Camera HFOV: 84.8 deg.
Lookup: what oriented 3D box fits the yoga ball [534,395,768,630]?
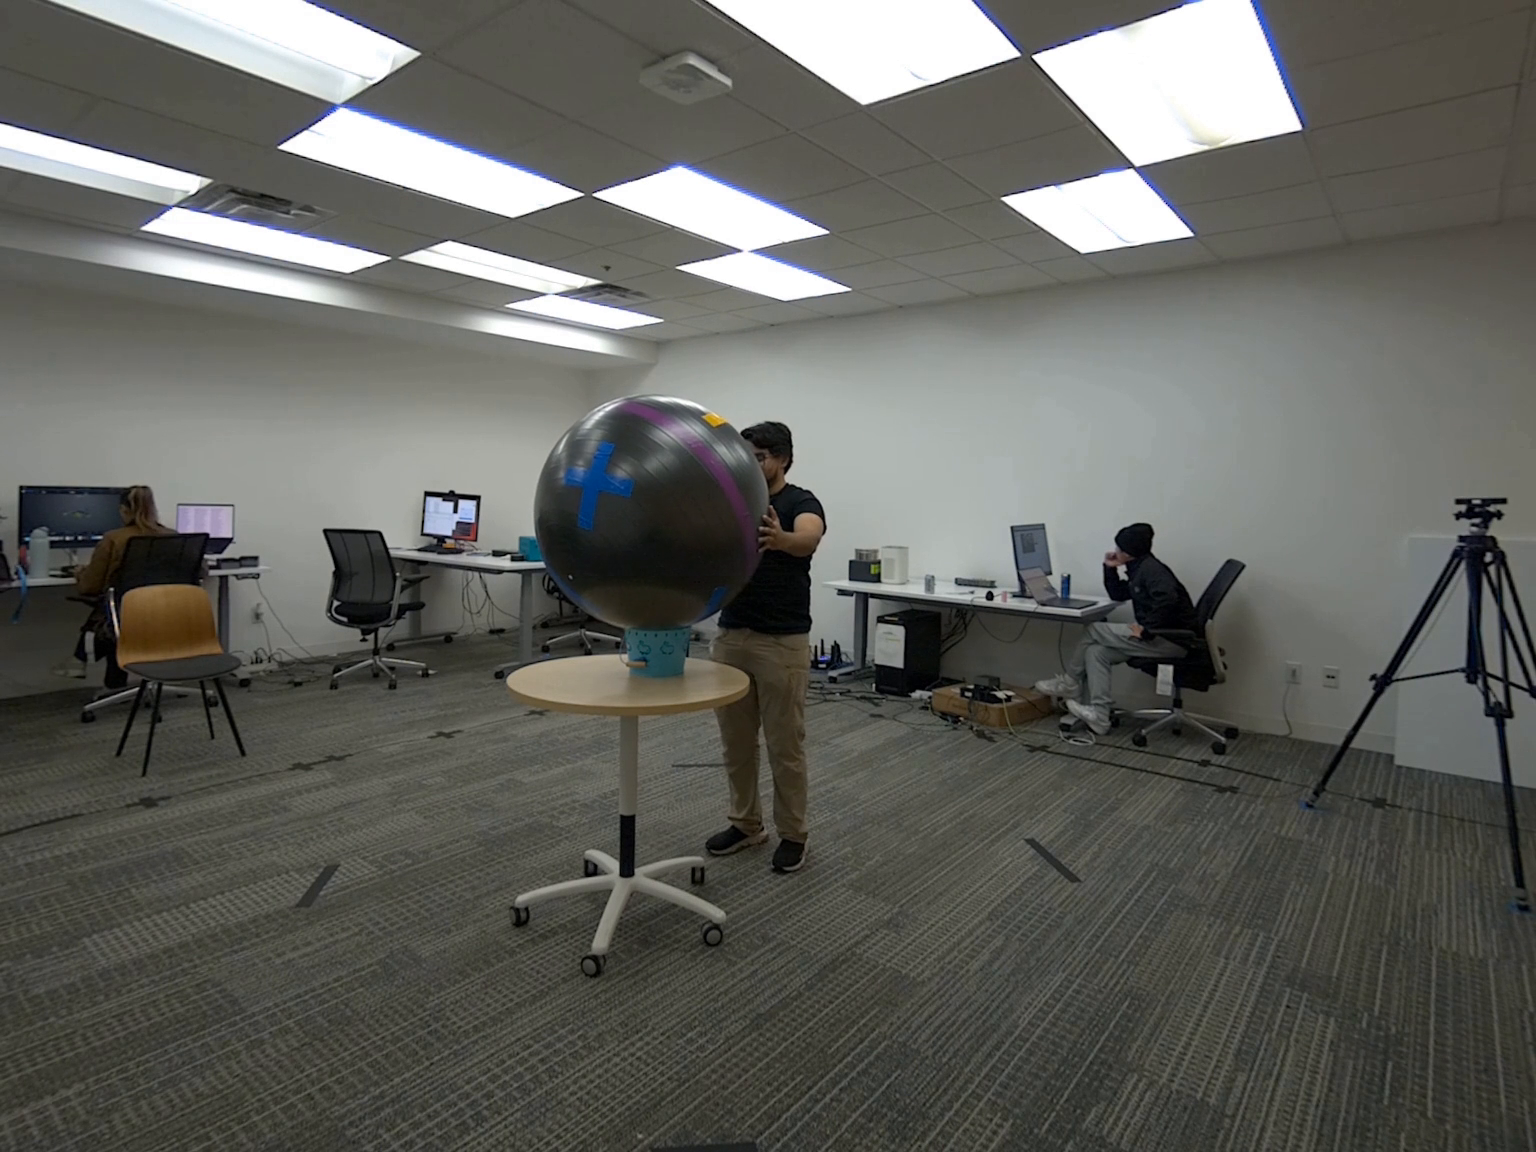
[{"bbox_3d":[-0.378,-0.198,2.742,0.757,0.755,0.762,1,4,-2],"label":"yoga ball"}]
